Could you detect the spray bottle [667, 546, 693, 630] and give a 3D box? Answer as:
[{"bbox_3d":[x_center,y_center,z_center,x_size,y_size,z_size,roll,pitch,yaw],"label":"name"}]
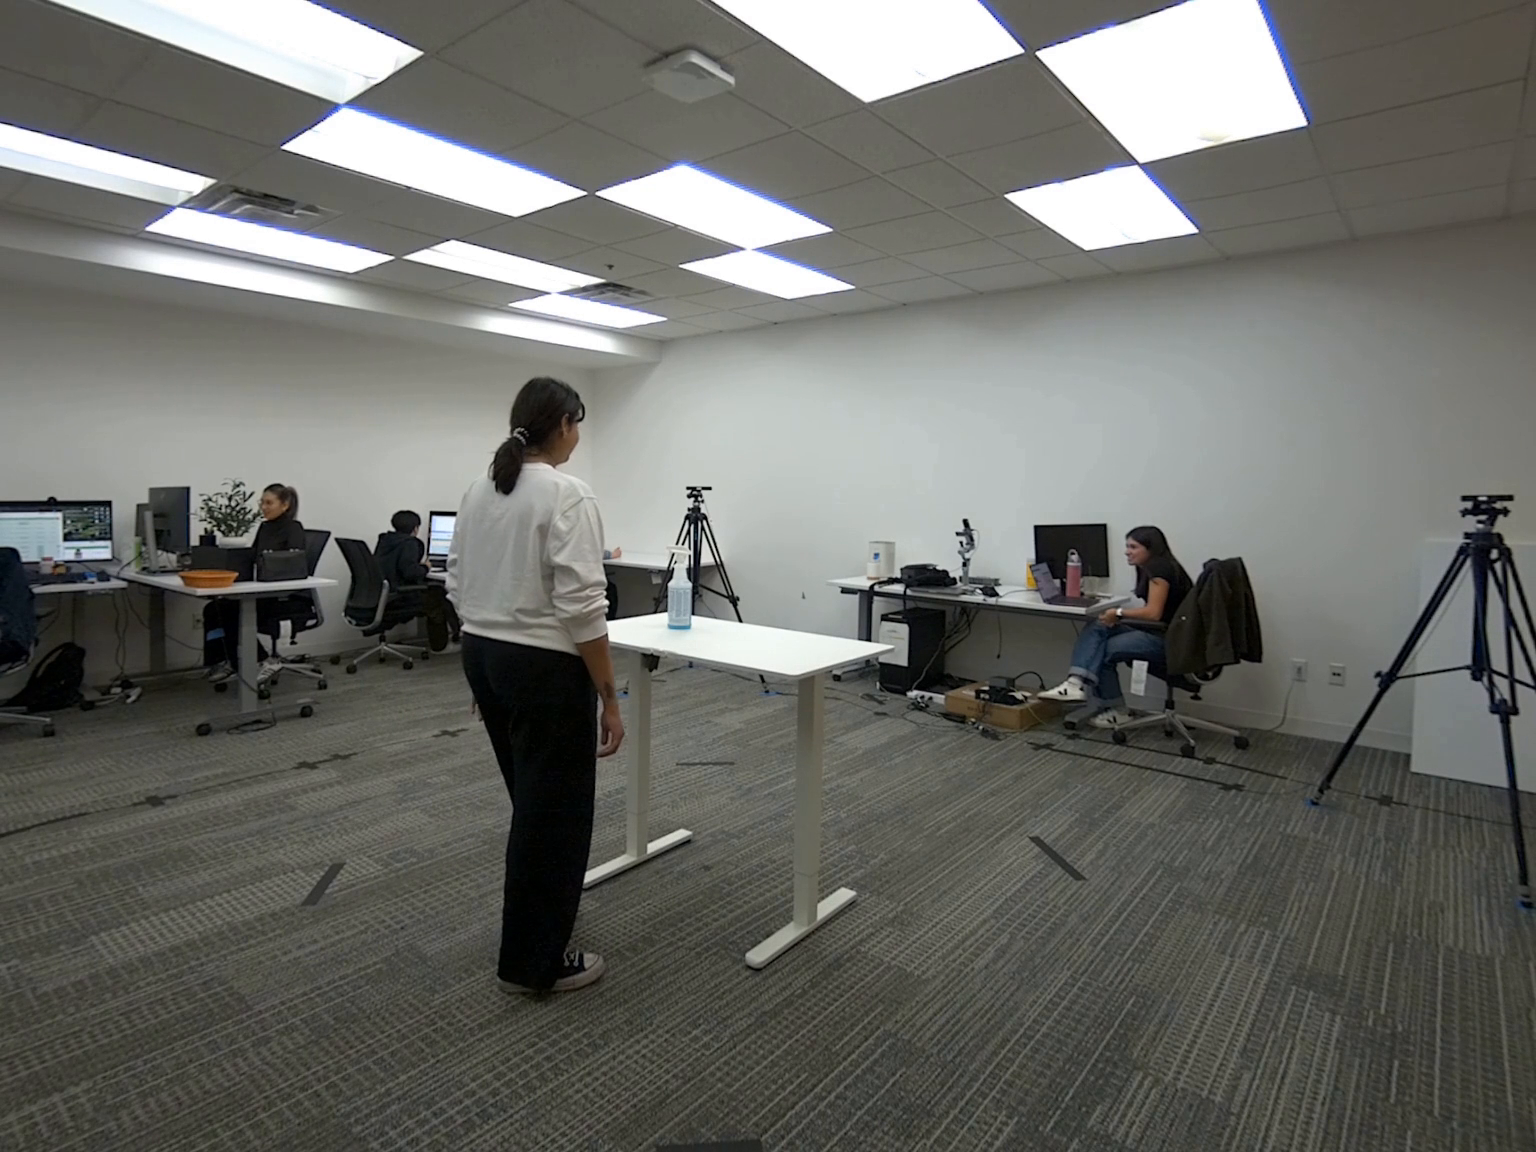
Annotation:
[{"bbox_3d":[-0.318,0.040,3.047,0.092,0.296,0.085,2,3,19],"label":"spray bottle"}]
